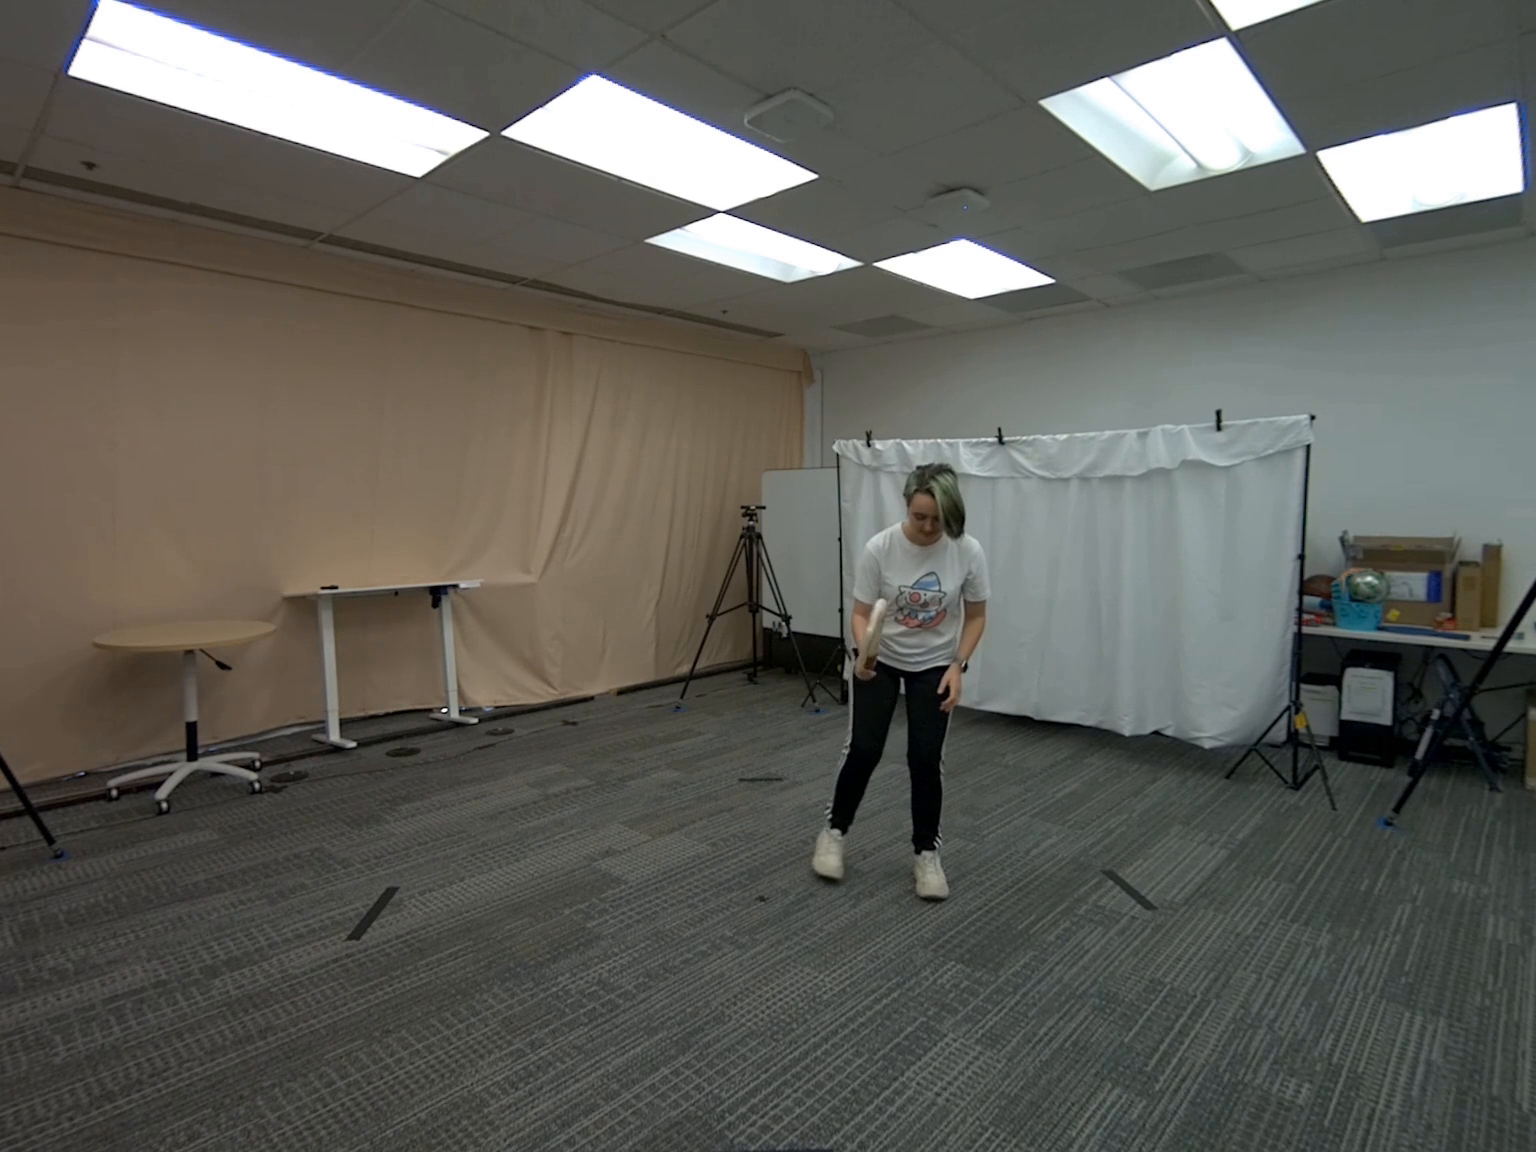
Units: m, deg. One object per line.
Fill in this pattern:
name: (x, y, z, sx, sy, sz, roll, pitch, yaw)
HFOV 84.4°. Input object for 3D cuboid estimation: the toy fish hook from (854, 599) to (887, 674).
toy fish hook: (0.317, 0.268, 2.629, 0.049, 0.225, 0.496, 19, -29, 13)
